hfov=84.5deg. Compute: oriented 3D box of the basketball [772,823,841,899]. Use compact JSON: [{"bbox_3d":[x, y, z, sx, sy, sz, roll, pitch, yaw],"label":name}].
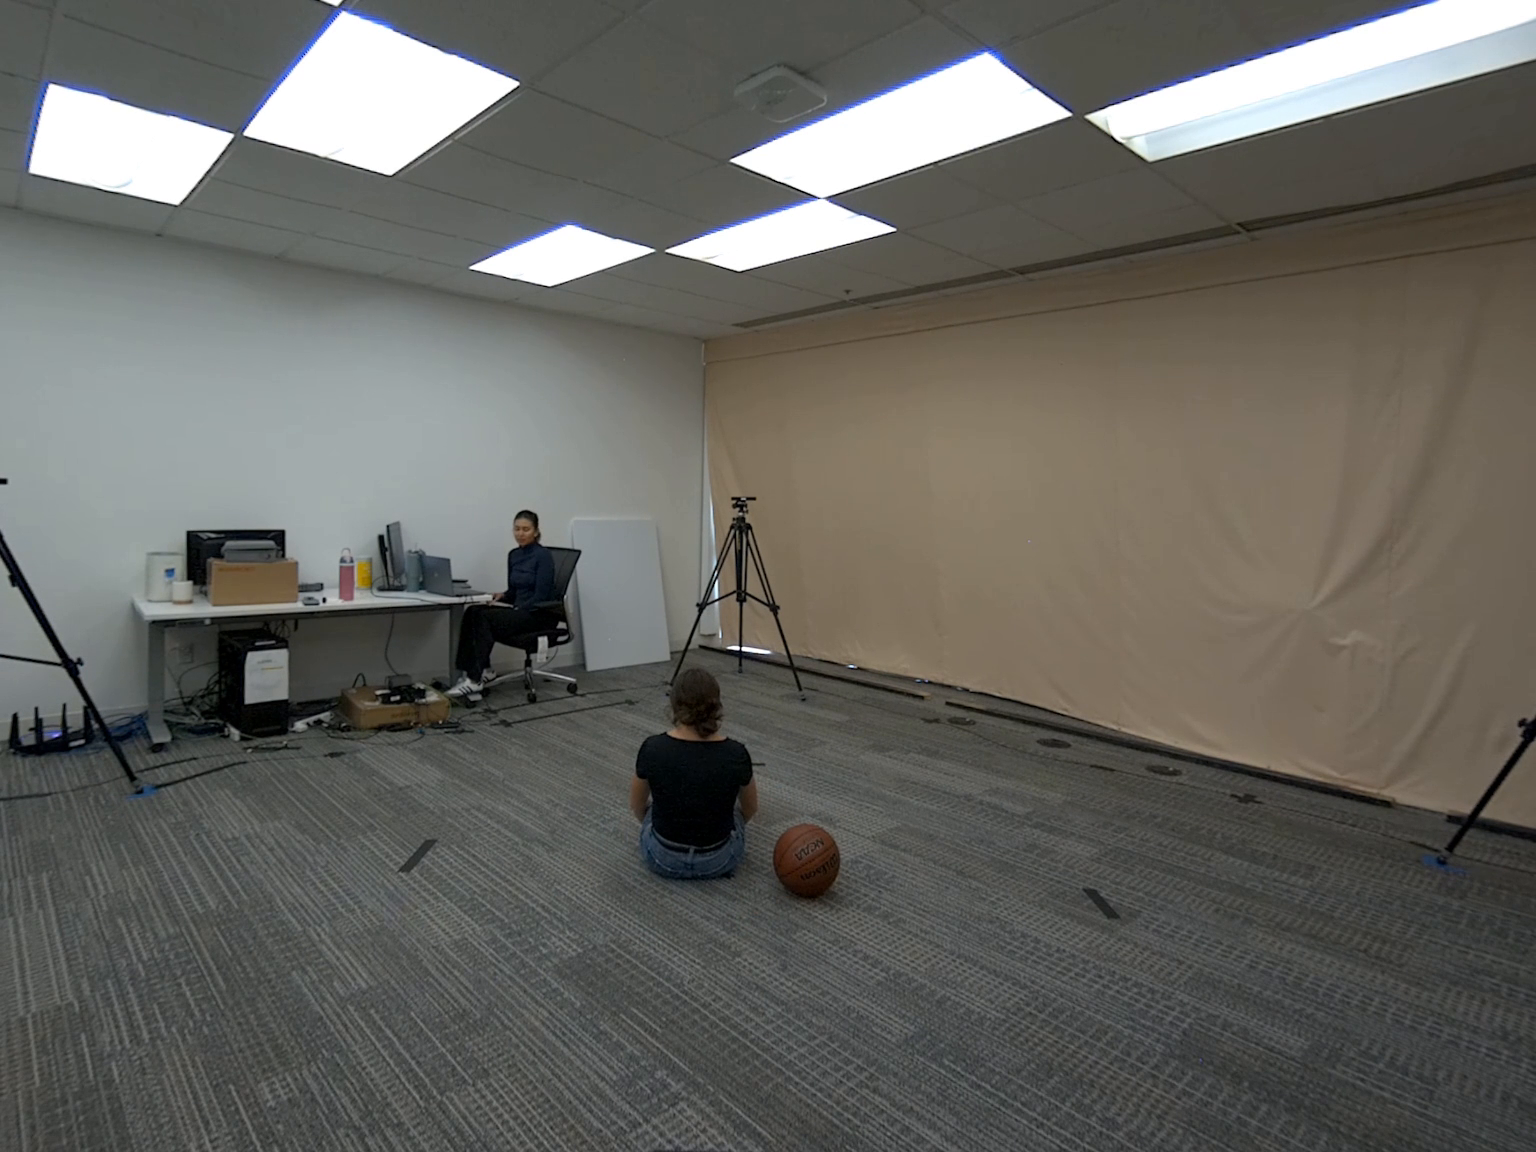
[{"bbox_3d":[0.130,1.001,2.982,0.236,0.235,0.237,1,4,-1],"label":"basketball"}]
